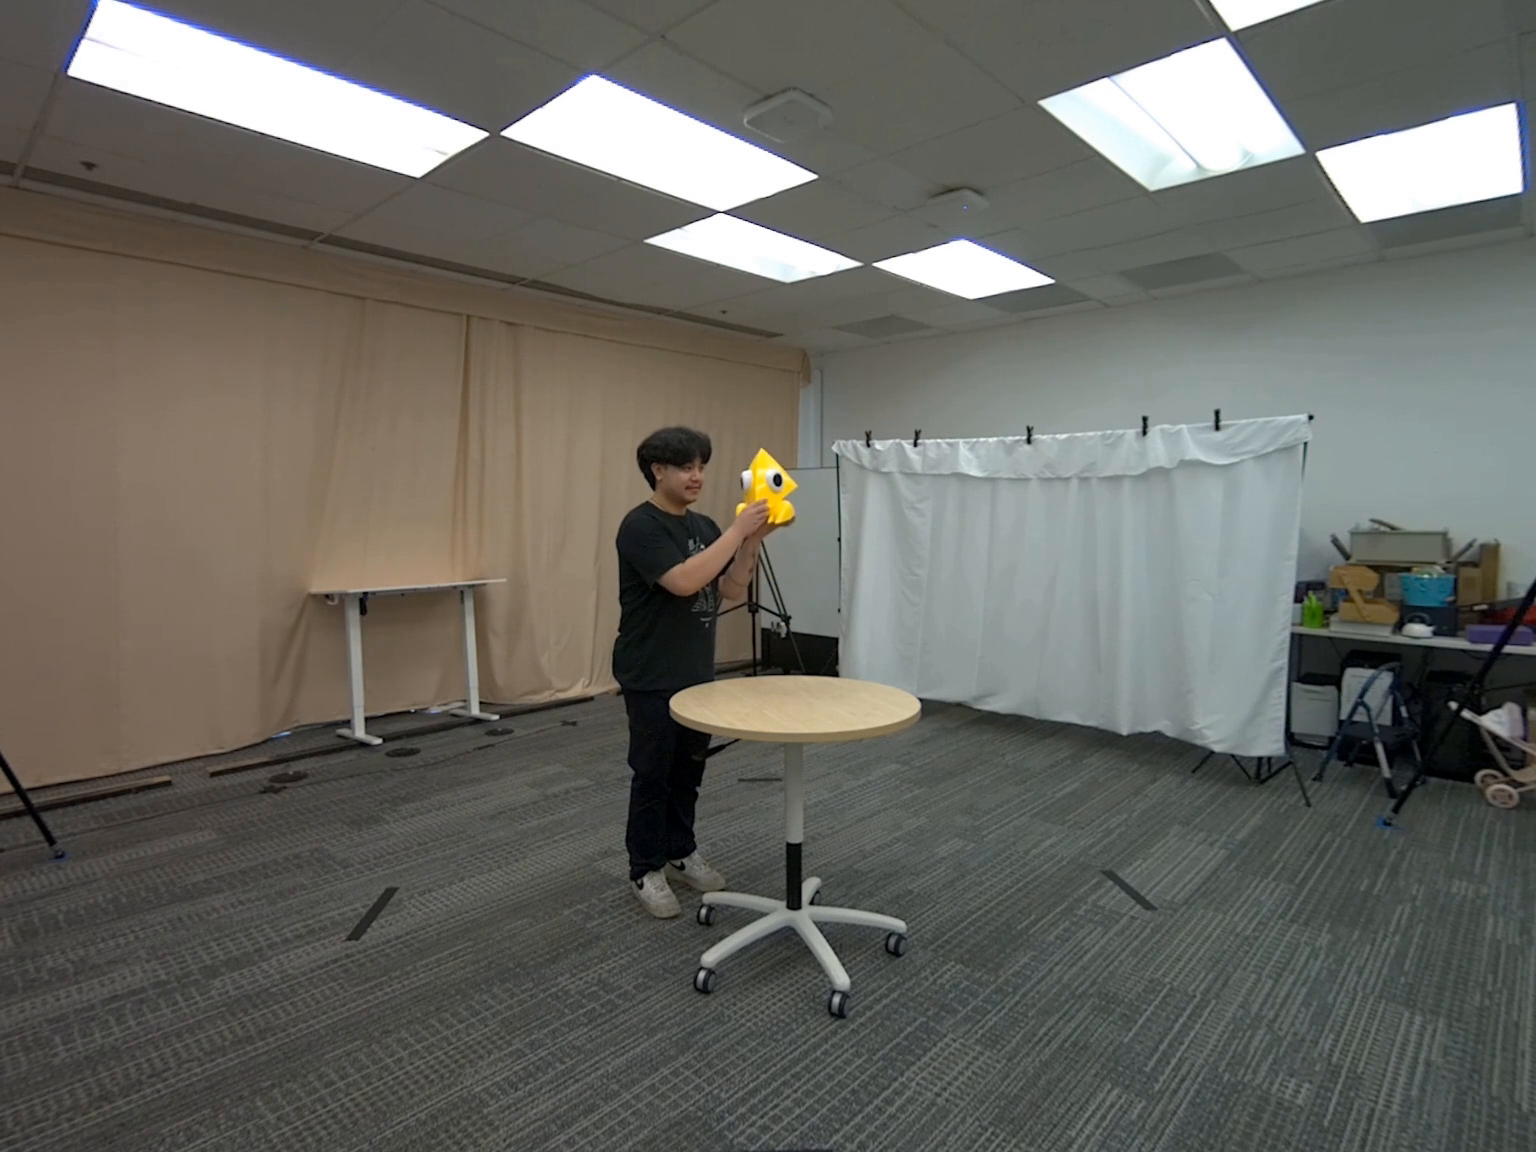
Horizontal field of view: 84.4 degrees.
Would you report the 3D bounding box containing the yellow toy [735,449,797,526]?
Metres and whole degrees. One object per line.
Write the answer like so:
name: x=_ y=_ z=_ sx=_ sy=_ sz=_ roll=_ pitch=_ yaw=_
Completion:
yellow toy: x=-0.020 y=-0.308 z=2.889 sx=0.209 sy=0.227 sz=0.192 roll=-1 pitch=19 yaw=19
